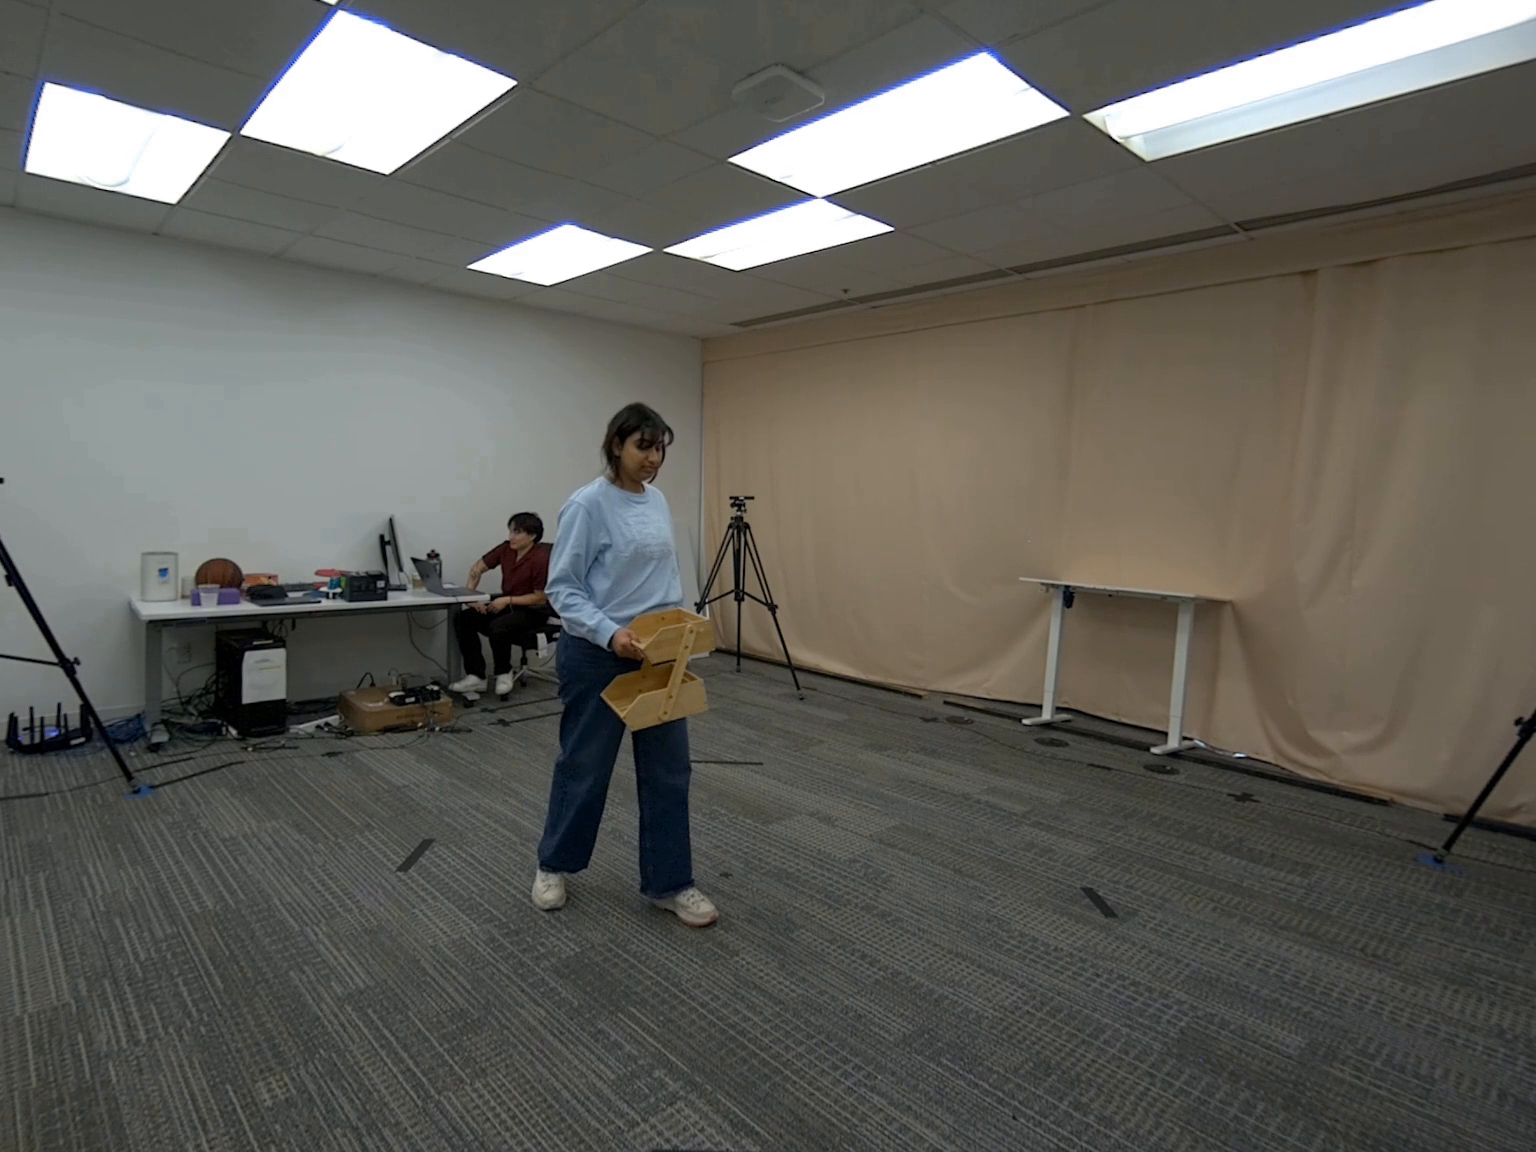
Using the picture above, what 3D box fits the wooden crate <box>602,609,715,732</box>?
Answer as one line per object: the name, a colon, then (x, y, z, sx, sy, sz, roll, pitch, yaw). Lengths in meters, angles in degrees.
wooden crate: (-0.361, 0.268, 2.504, 0.298, 0.272, 0.330, -12, 8, -20)
